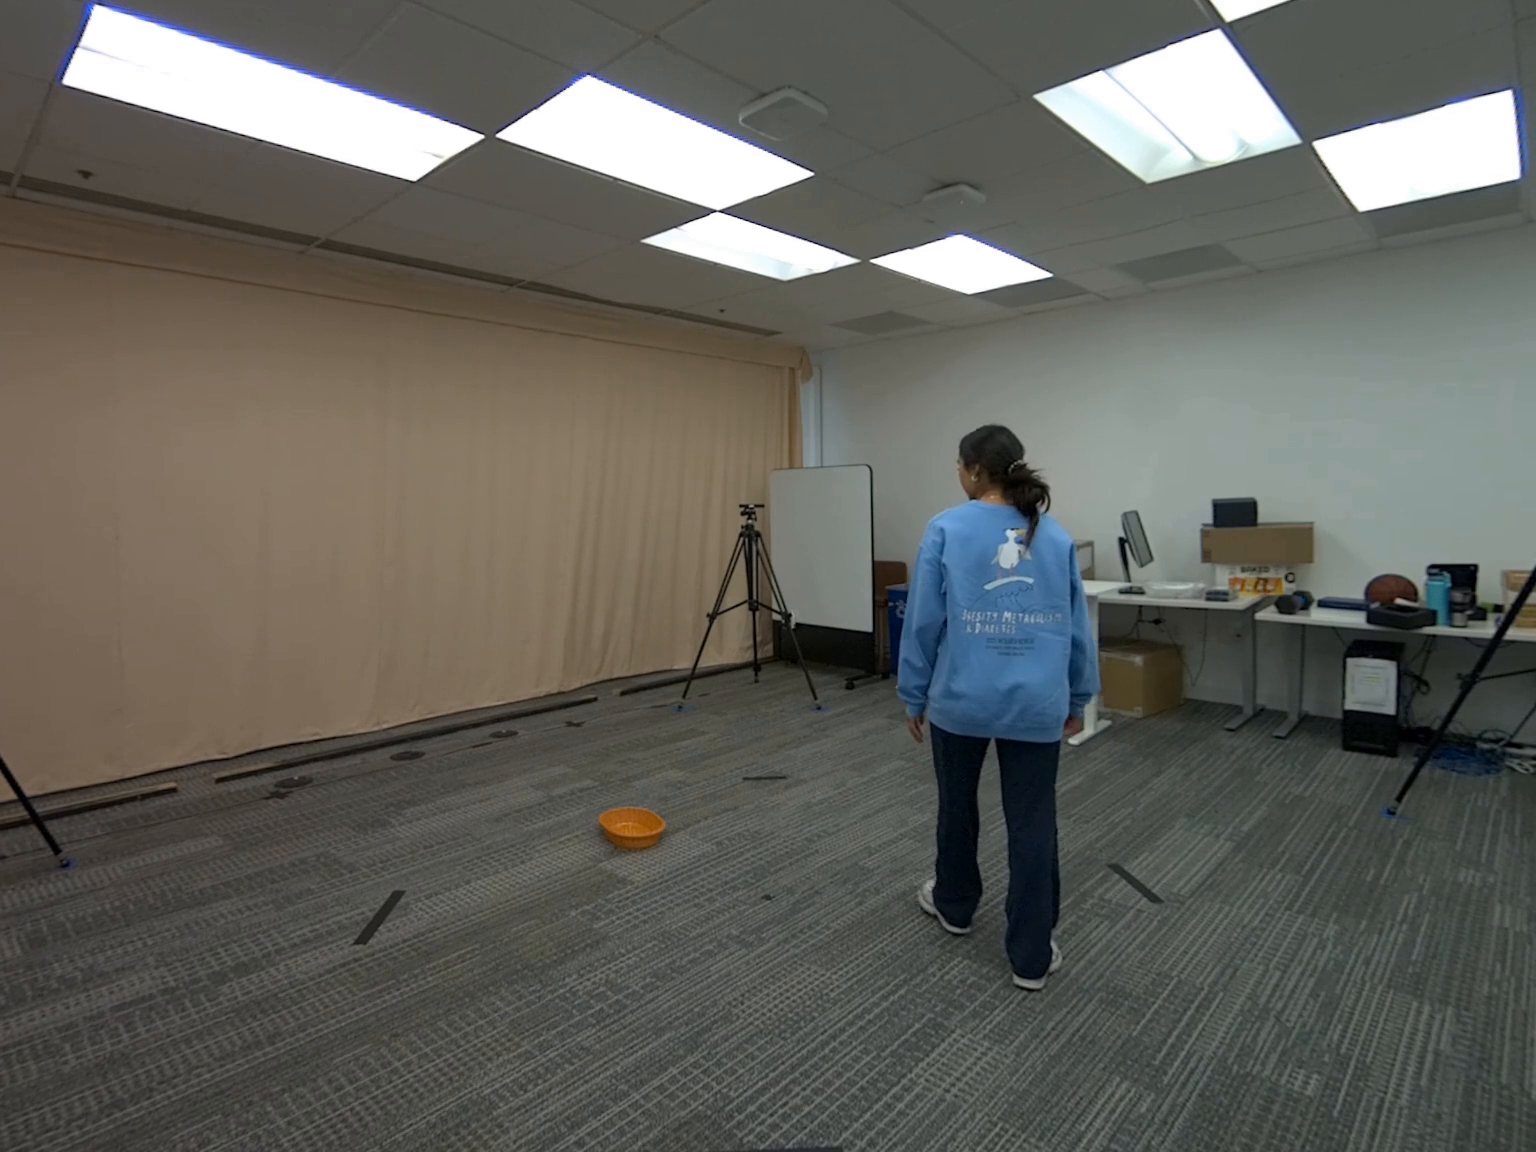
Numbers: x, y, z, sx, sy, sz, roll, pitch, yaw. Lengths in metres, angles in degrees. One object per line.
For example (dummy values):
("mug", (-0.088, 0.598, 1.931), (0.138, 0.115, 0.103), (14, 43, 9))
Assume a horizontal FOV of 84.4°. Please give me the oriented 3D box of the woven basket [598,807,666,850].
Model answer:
("woven basket", (-0.572, 1.060, 3.553), (0.246, 0.073, 0.360), (-3, 5, -27))
